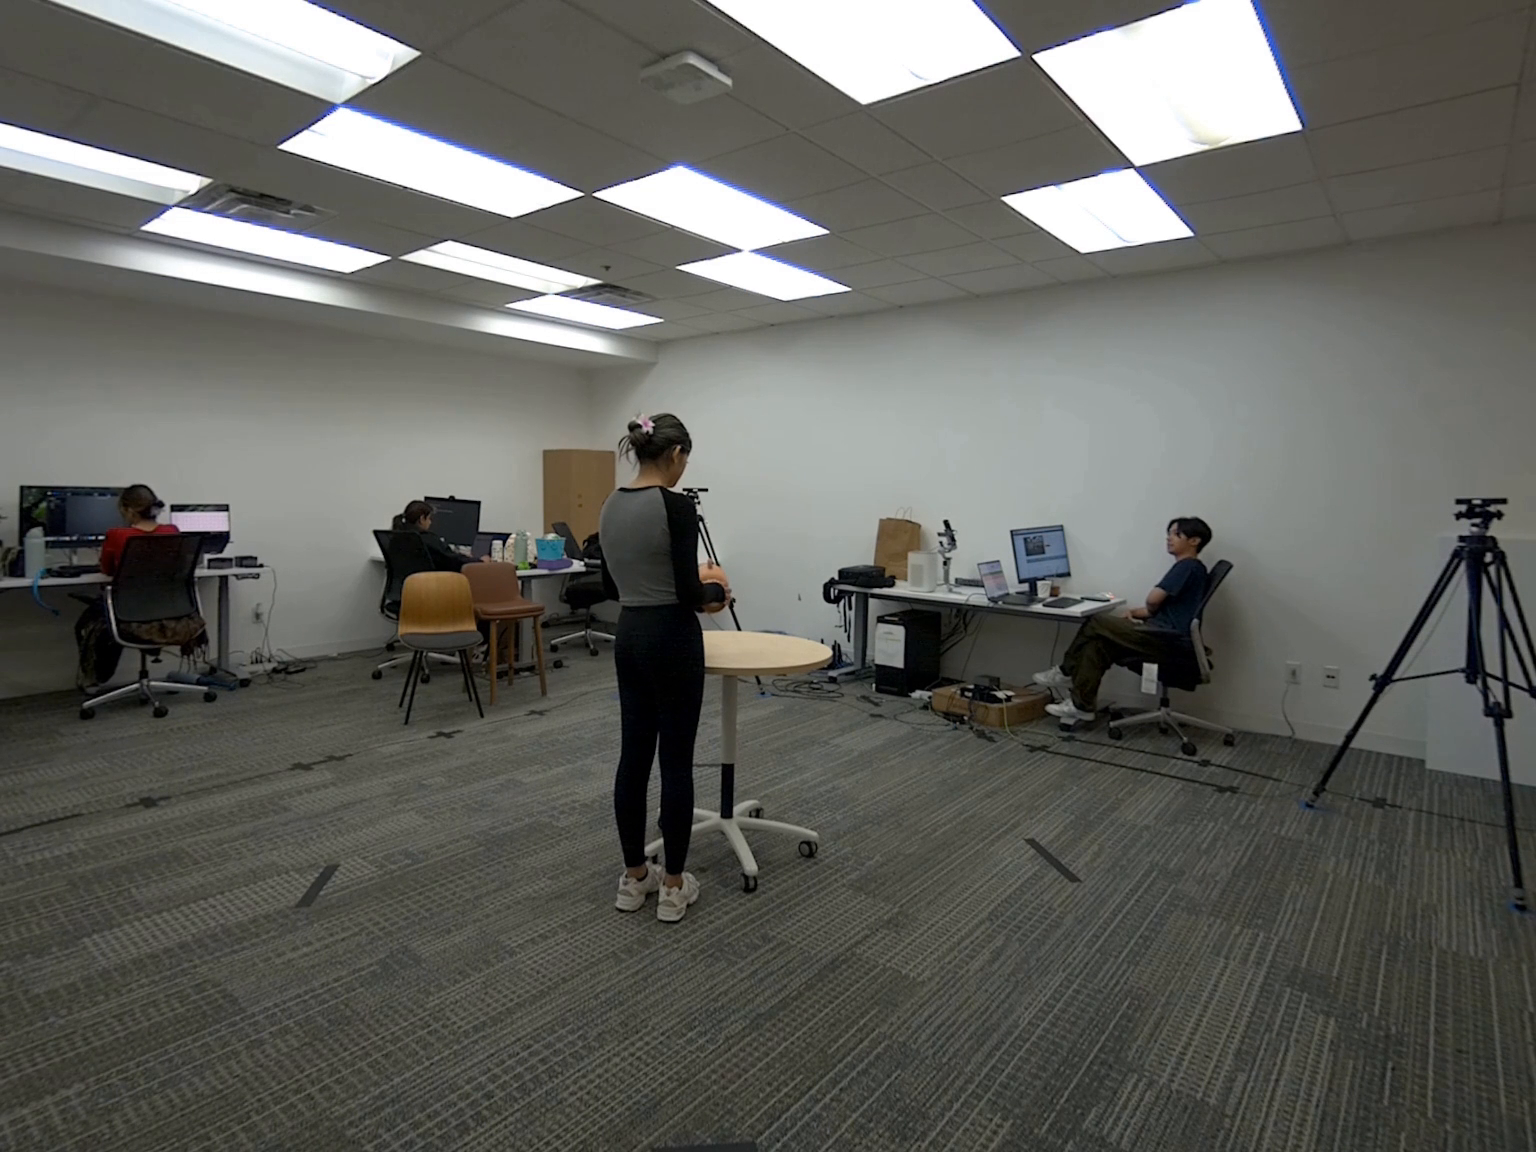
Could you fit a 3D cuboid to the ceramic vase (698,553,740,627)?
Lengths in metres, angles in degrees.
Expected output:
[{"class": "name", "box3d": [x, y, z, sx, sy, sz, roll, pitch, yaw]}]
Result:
[{"class": "ceramic vase", "box3d": [-0.214, 0.046, 3.076, 0.135, 0.156, 0.224, -40, 15, 7]}]
